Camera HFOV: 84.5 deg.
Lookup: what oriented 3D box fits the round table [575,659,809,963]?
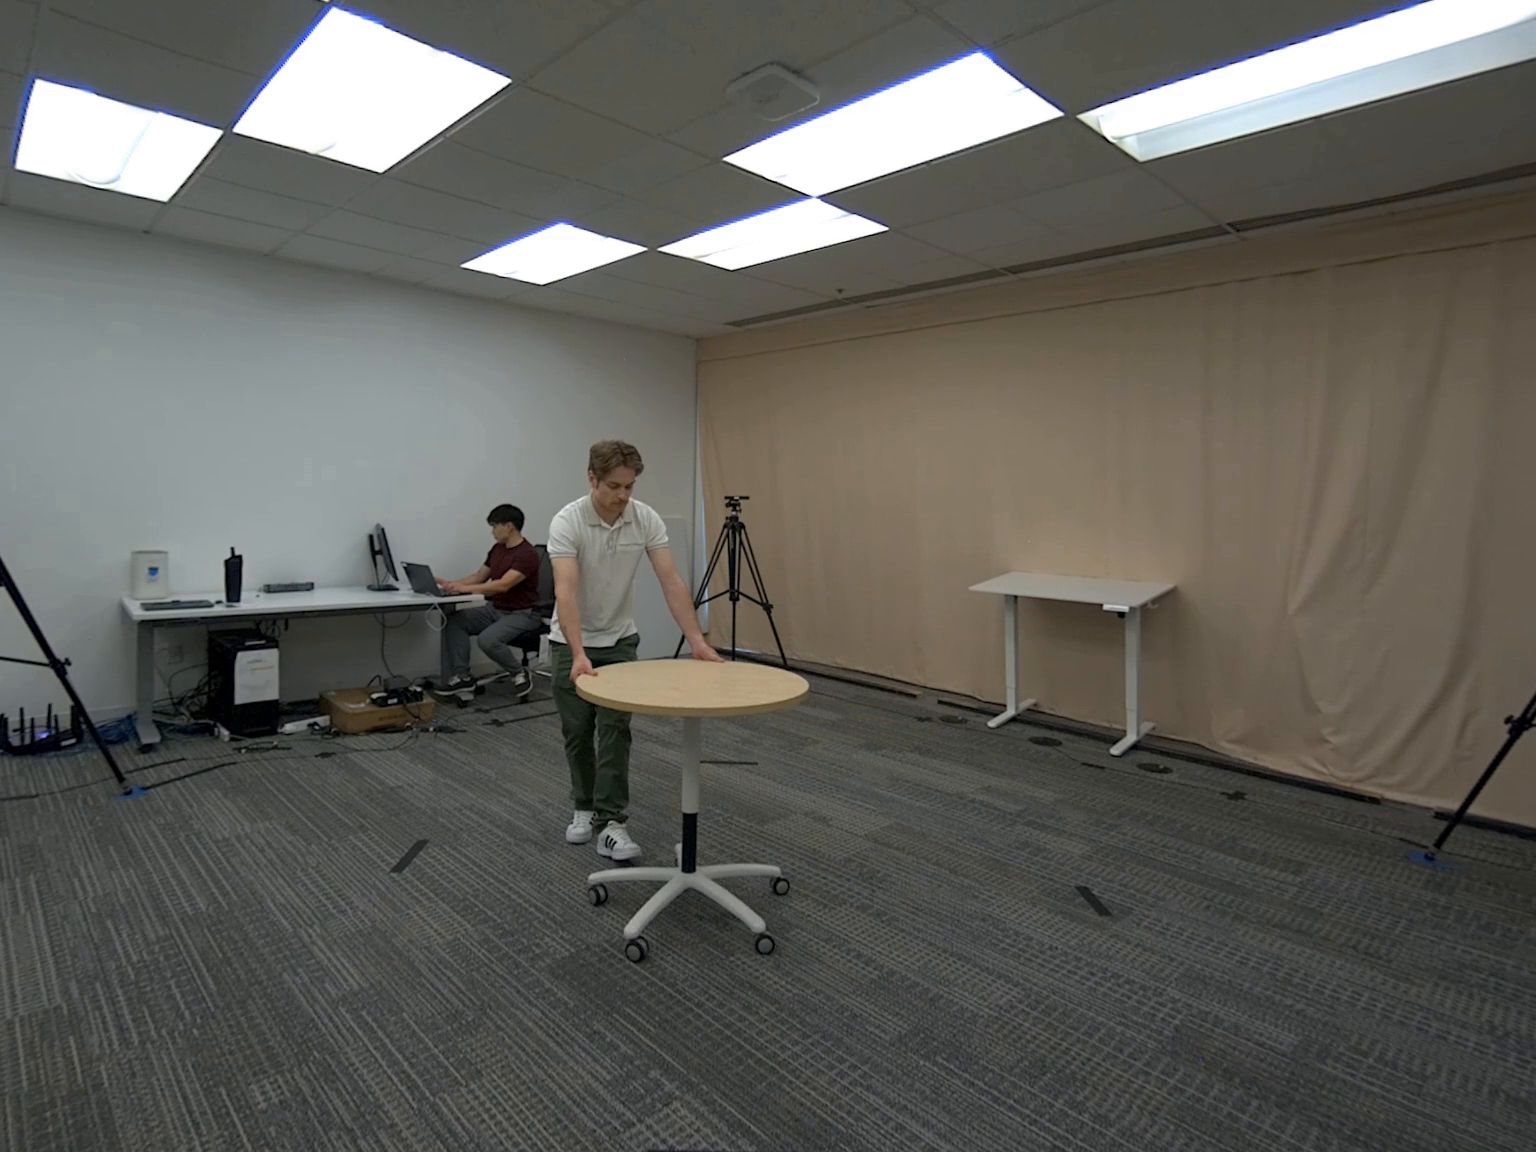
[{"bbox_3d":[-0.267,0.736,2.810,0.784,0.785,0.787,1,4,-1],"label":"round table"}]
